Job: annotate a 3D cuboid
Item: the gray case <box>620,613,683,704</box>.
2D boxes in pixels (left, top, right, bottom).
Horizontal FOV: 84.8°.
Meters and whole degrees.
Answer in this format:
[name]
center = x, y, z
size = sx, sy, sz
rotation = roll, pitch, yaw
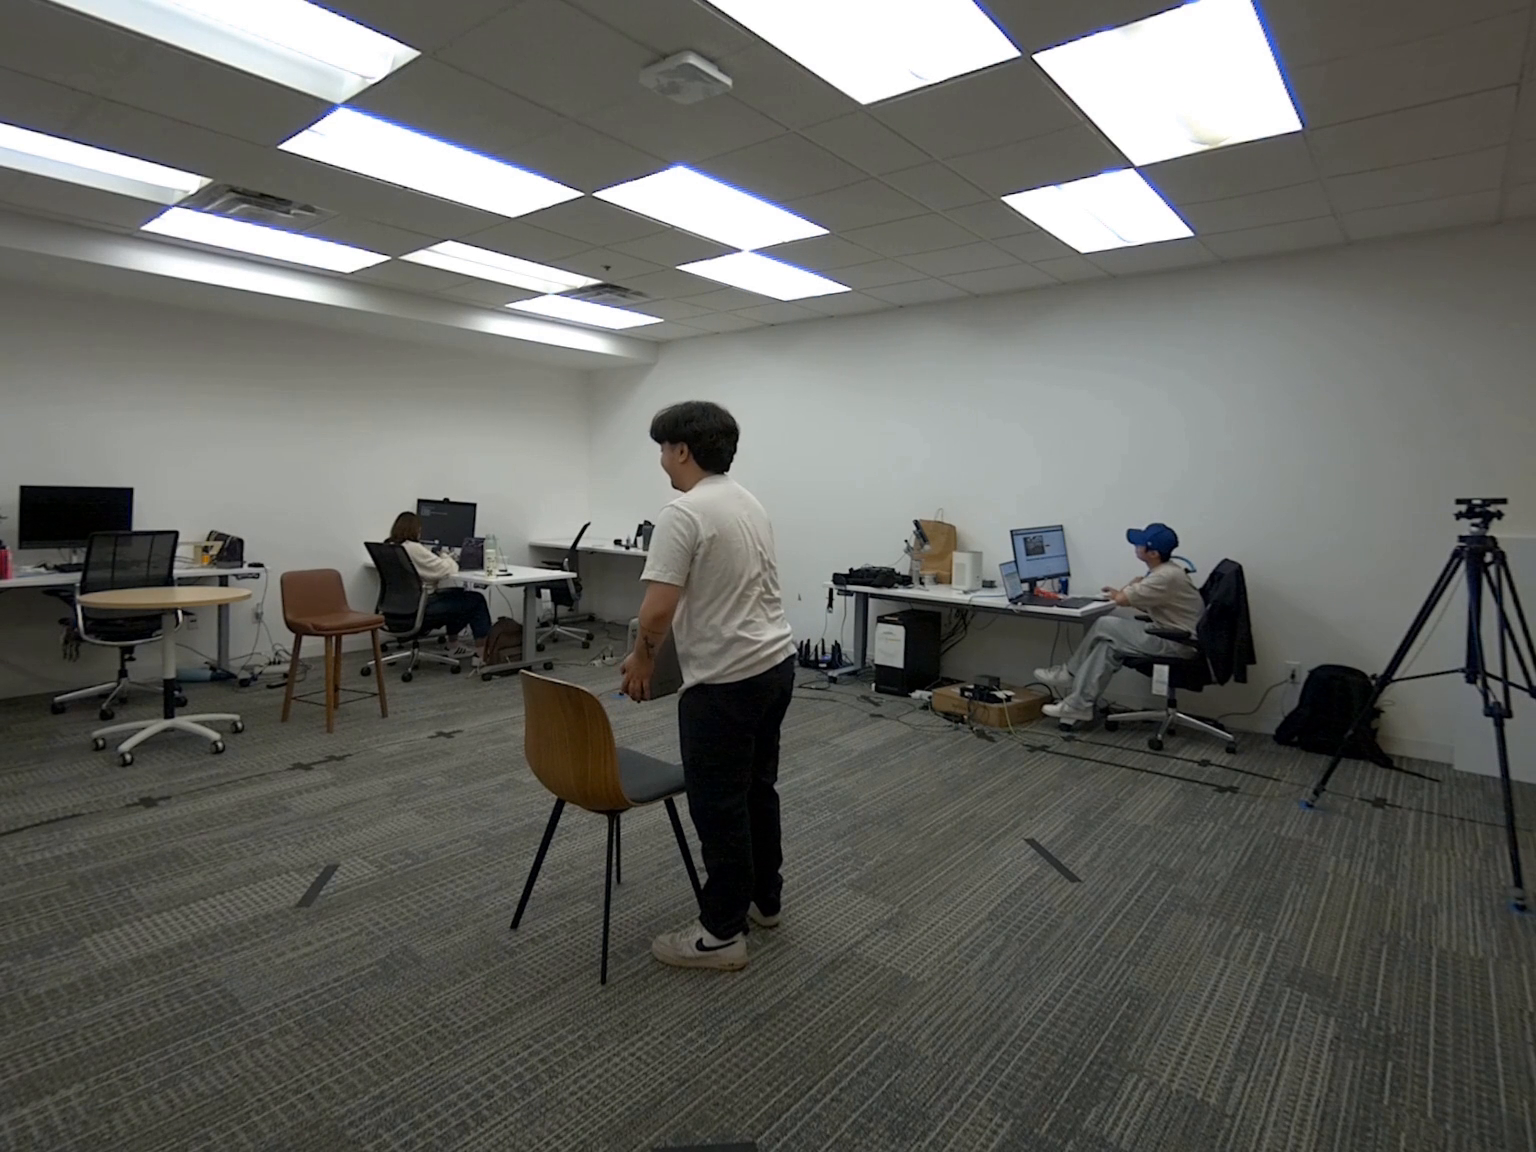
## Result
[gray case]
center = -0.349, 0.249, 2.701
size = 0.107, 0.260, 0.250
rotation = 3, 3, 31
